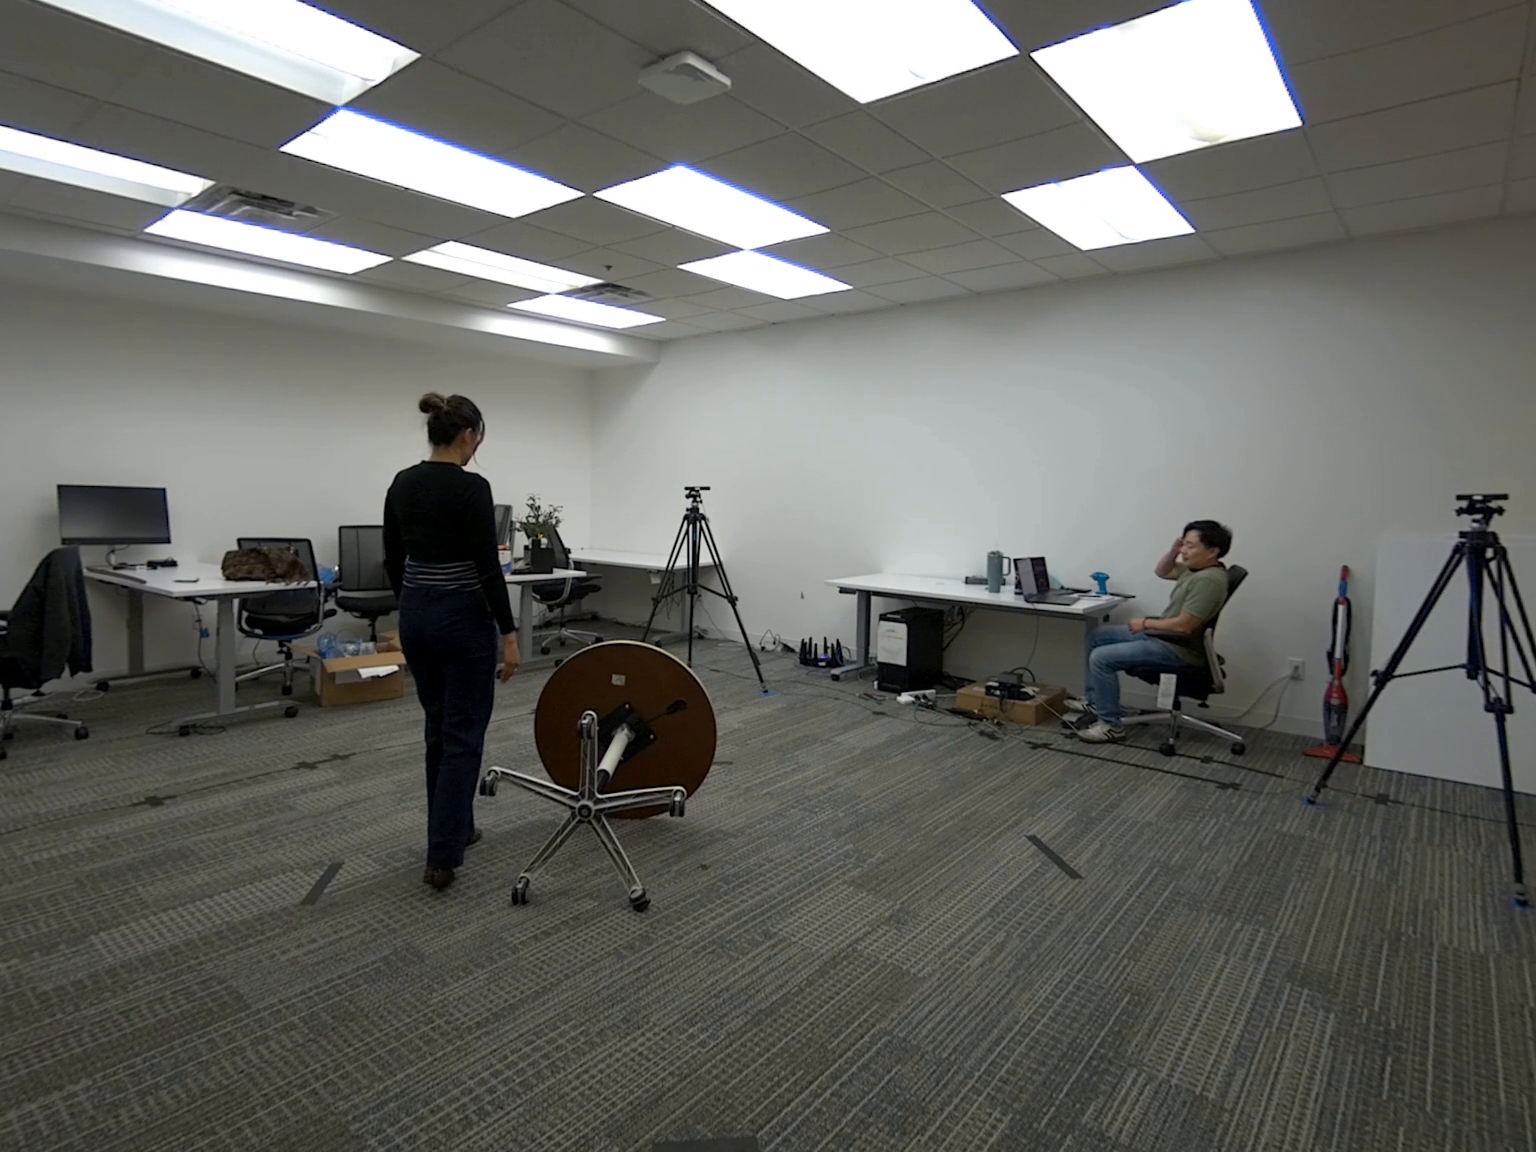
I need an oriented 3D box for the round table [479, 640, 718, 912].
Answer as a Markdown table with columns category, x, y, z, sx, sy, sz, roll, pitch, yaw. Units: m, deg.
| category | x | y | z | sx | sy | sz | roll | pitch | yaw |
| --- | --- | --- | --- | --- | --- | --- | --- | --- | --- |
| round table | -0.608 | 0.721 | 3.134 | 0.767 | 0.757 | 0.798 | 1 | 10 | 3 |
